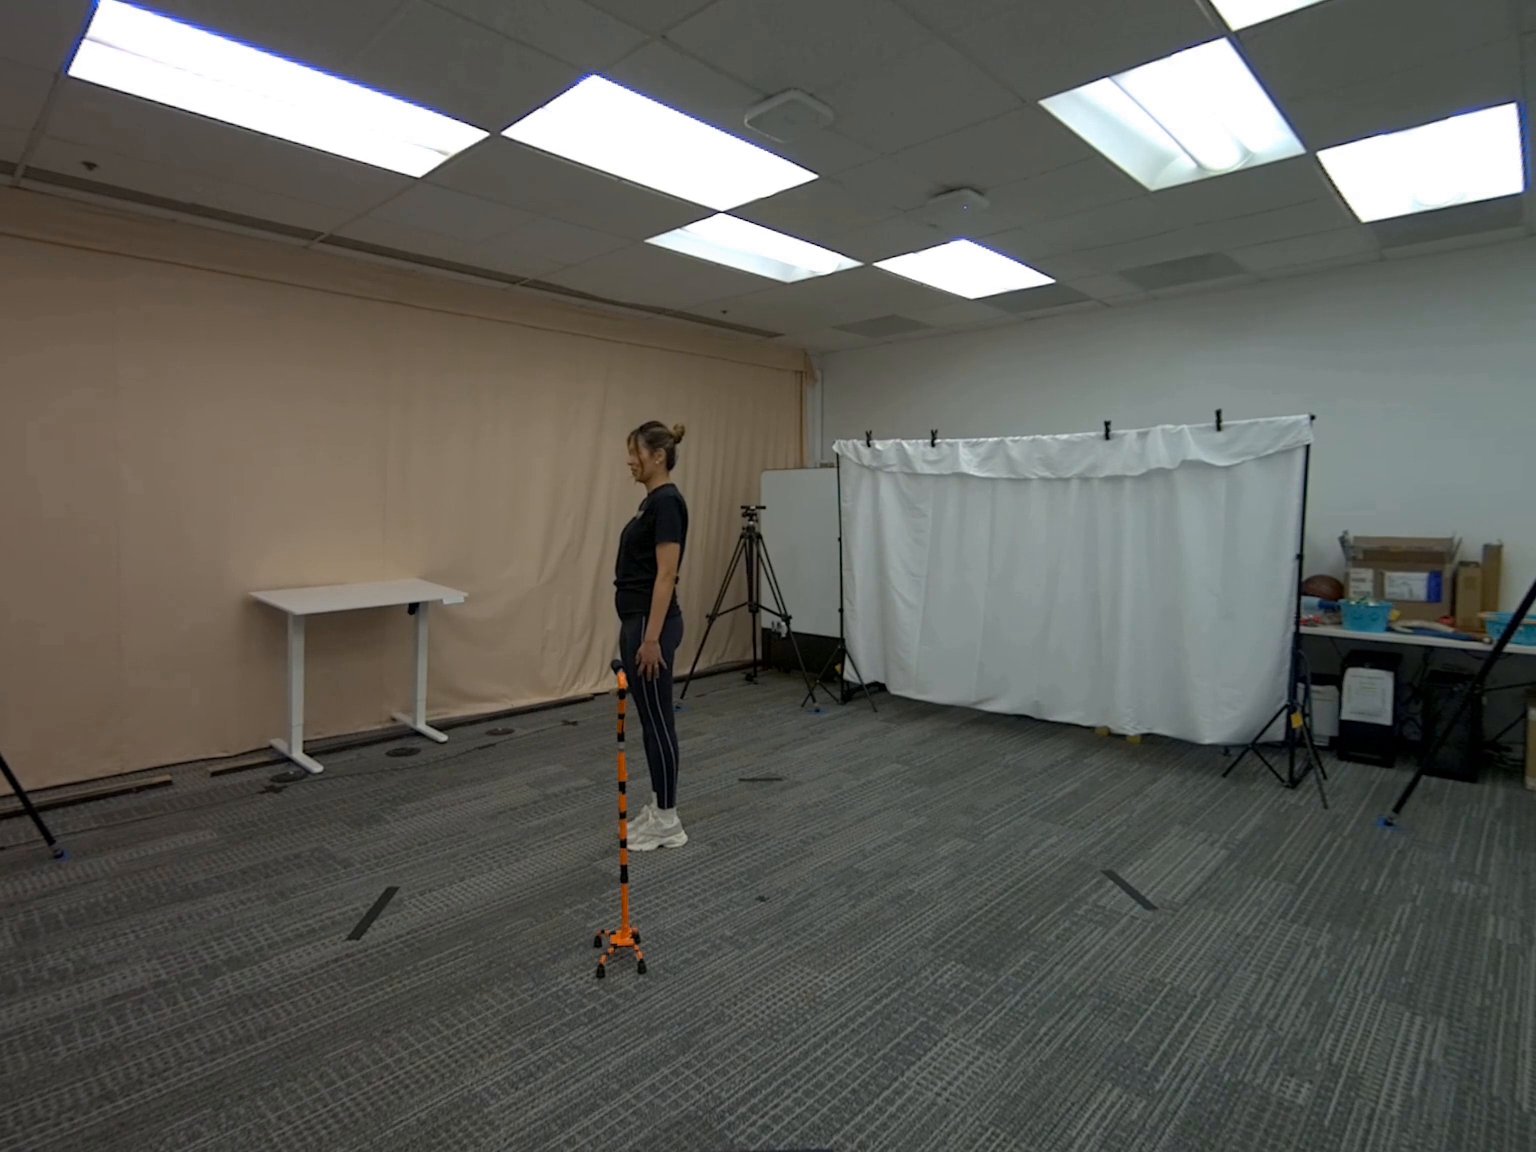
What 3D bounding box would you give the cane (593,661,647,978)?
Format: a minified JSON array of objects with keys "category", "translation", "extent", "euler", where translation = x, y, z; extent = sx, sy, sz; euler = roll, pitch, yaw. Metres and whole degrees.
[{"category":"cane","translation":[-0.459,0.726,2.568],"extent":[0.150,0.906,0.209],"euler":[-1,3,-13]}]
